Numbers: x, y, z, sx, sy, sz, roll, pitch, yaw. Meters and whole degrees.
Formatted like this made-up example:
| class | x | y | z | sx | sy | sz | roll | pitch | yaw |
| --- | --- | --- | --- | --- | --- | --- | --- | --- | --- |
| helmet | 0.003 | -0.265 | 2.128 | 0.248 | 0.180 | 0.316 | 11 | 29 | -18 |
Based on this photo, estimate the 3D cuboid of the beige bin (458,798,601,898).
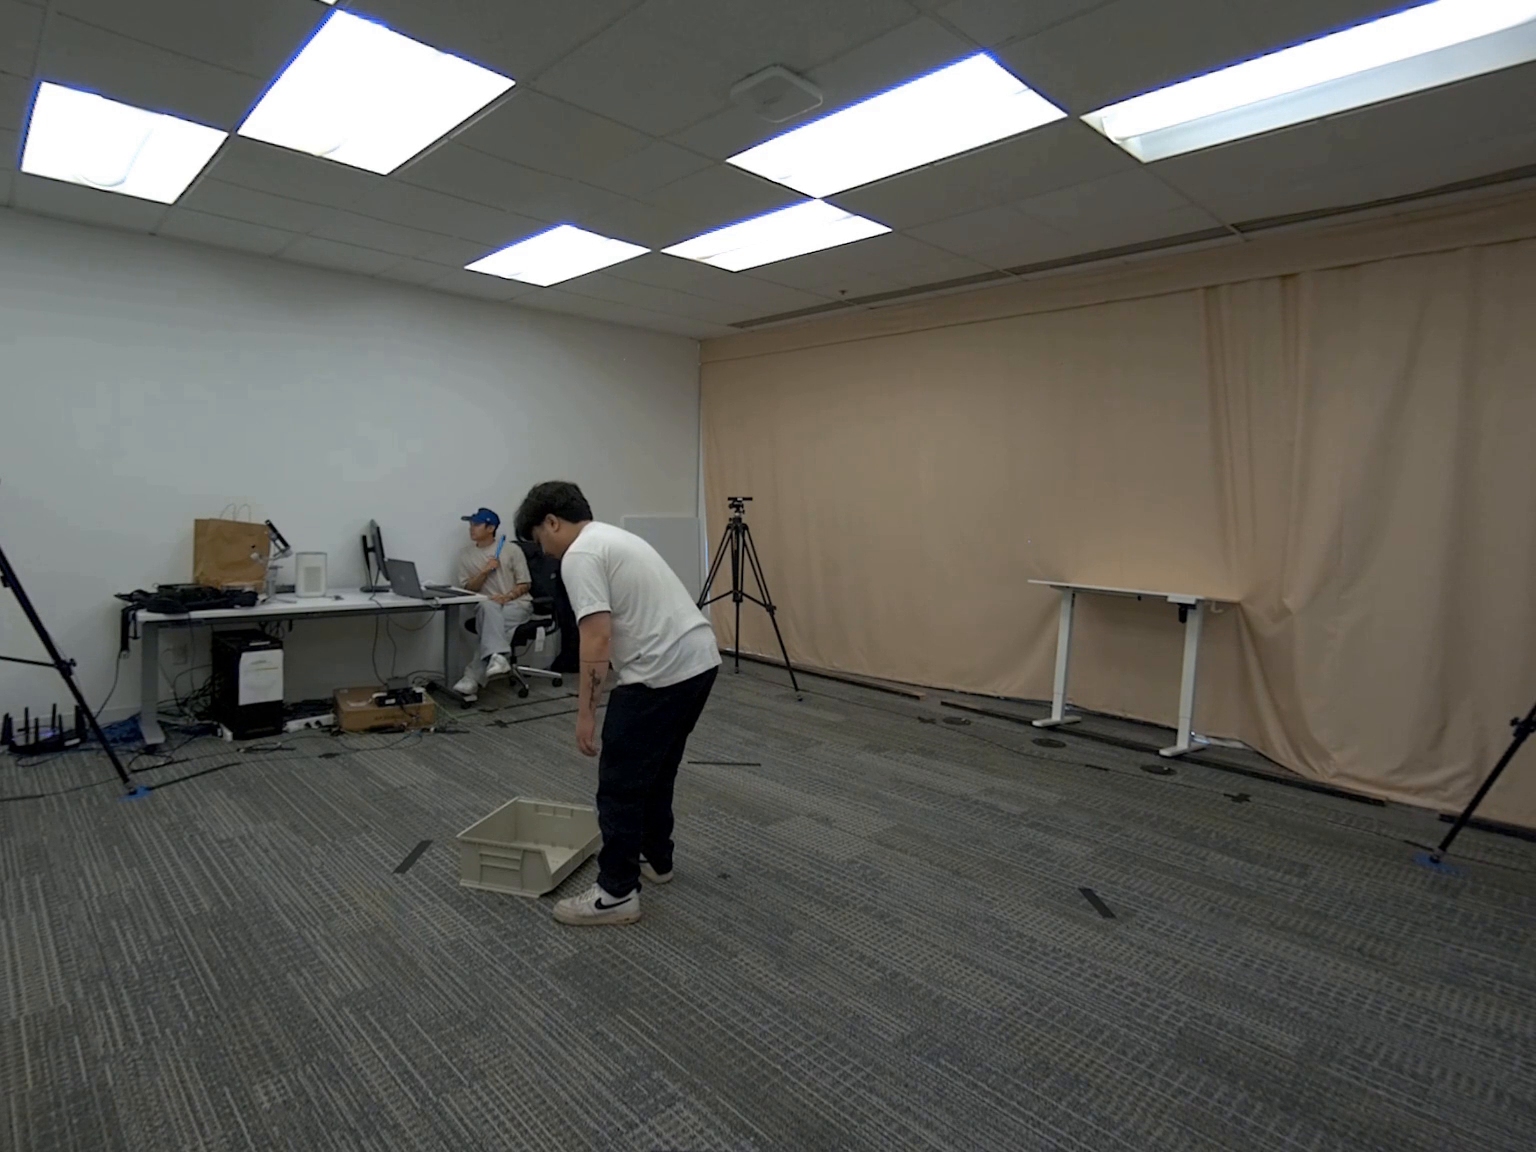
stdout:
| class | x | y | z | sx | sy | sz | roll | pitch | yaw |
| --- | --- | --- | --- | --- | --- | --- | --- | --- | --- |
| beige bin | -0.873 | 0.998 | 3.124 | 0.382 | 0.188 | 0.419 | 2 | 6 | 14 |
